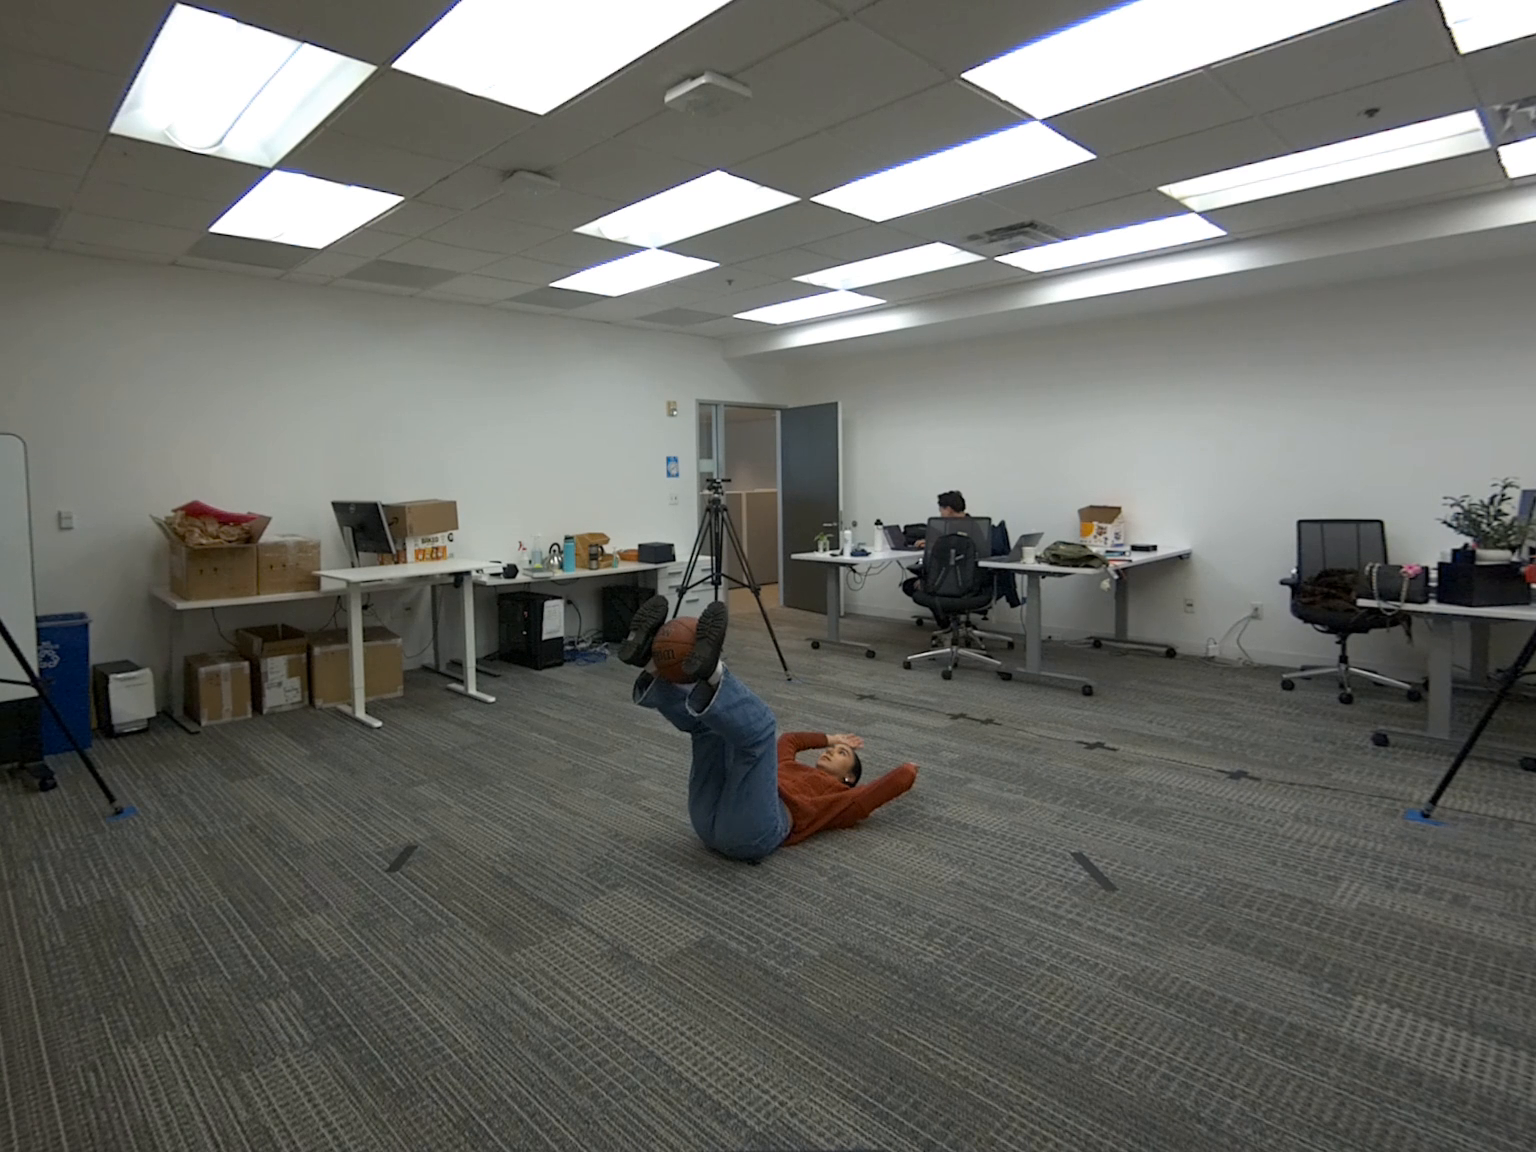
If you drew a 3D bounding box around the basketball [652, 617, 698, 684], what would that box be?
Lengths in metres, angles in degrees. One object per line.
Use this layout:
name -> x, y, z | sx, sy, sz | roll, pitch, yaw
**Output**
basketball -> -0.283, 0.260, 2.980 | 0.236, 0.236, 0.236 | 0, 1, -2
